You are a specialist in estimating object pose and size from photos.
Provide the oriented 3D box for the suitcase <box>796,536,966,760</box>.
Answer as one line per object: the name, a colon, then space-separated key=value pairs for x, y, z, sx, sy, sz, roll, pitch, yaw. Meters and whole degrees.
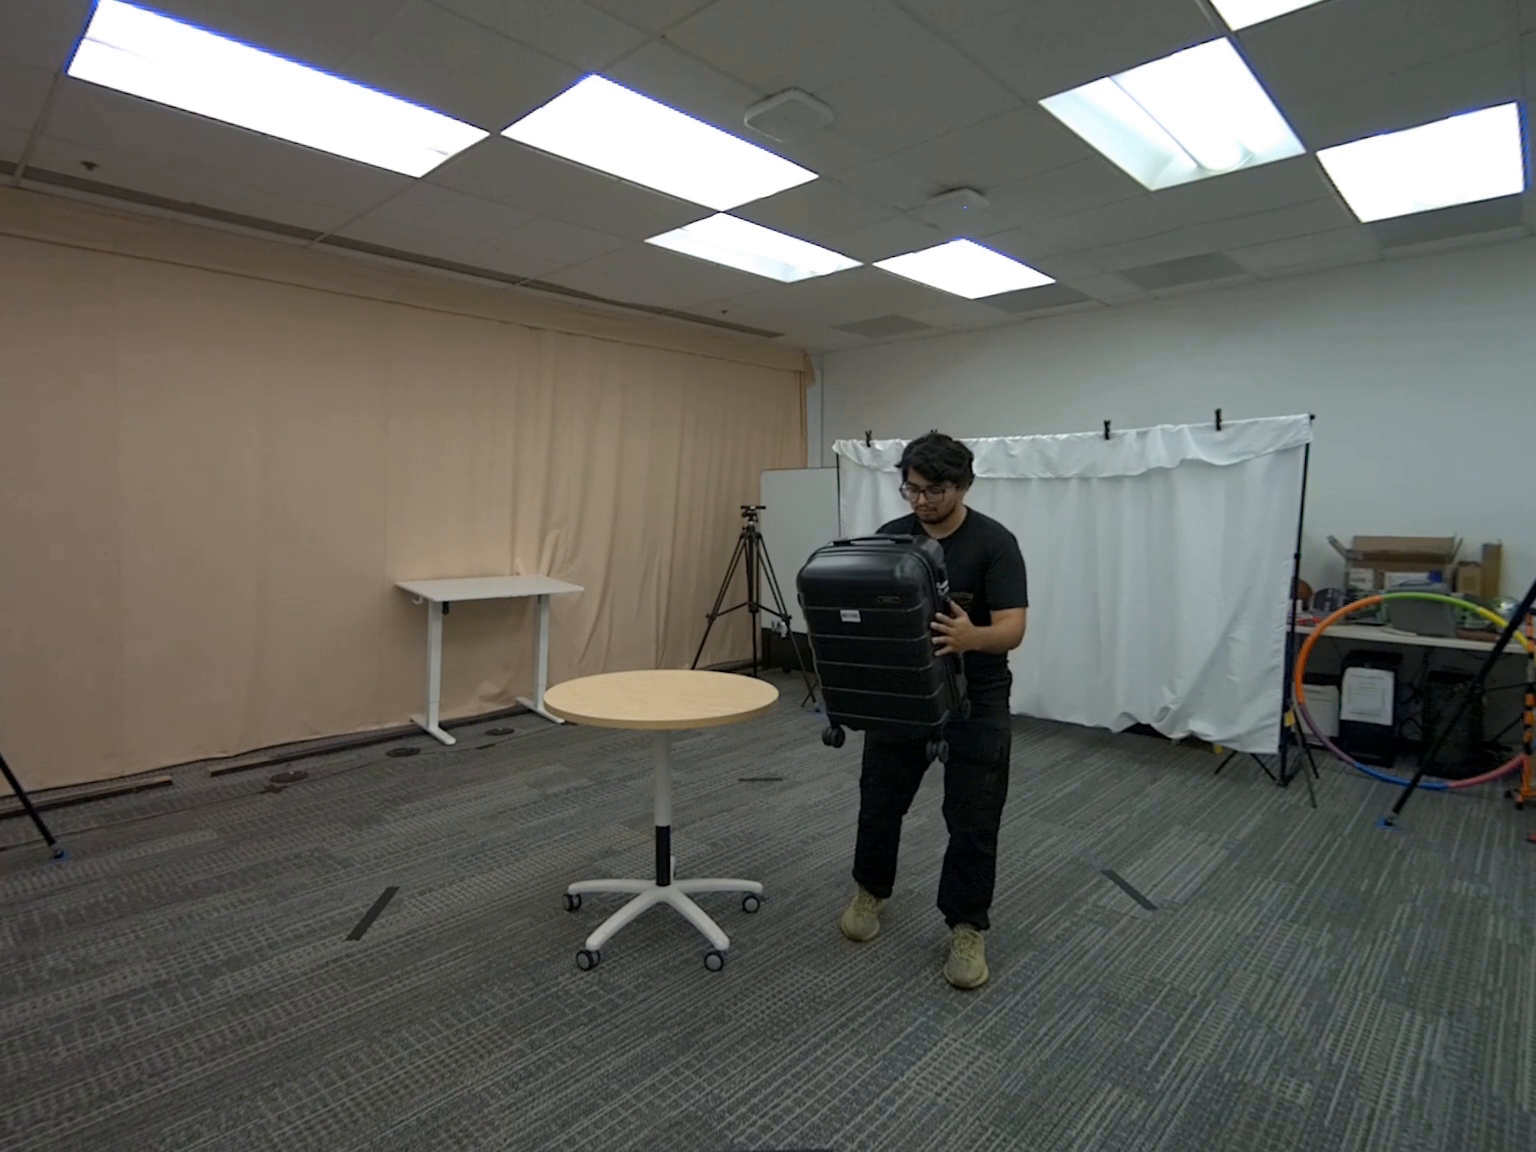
suitcase: x=0.310 y=0.171 z=2.230 sx=0.387 sy=0.541 sz=0.244 roll=0 pitch=22 yaw=34
